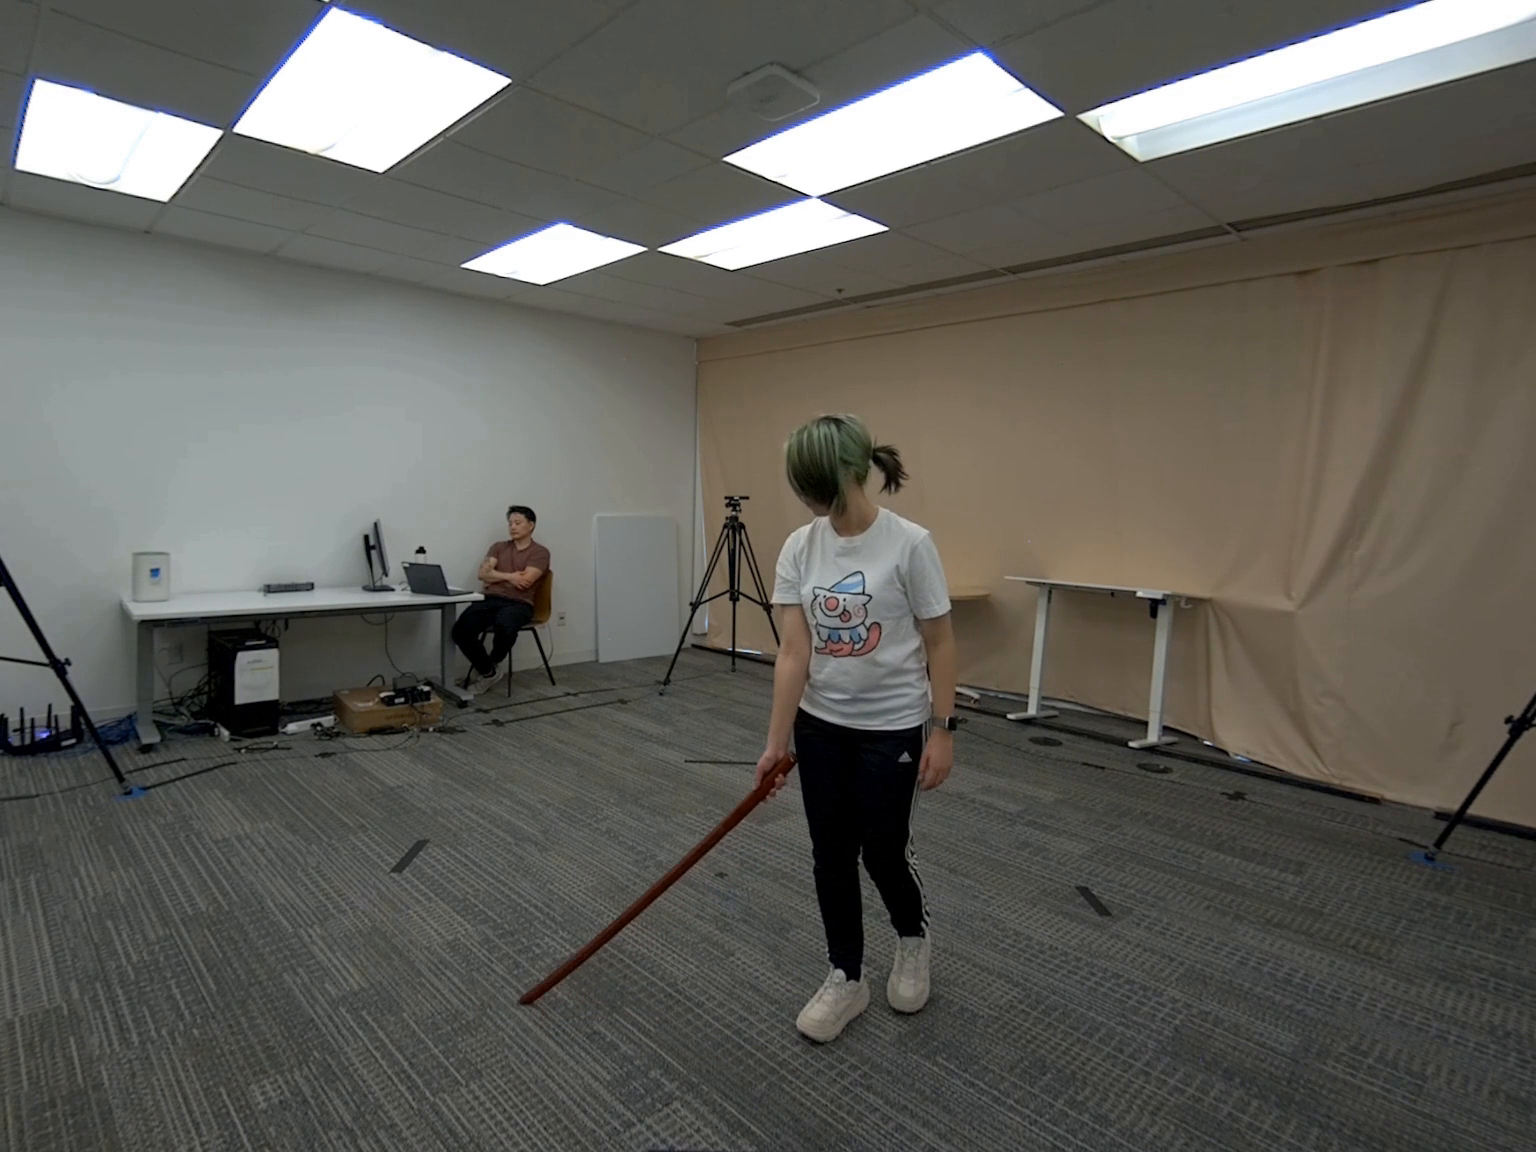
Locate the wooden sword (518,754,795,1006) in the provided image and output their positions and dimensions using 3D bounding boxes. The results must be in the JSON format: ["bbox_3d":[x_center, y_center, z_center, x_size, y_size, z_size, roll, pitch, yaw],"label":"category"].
[{"bbox_3d":[-0.293,0.822,2.217,1.025,0.024,0.051,-43,3,8],"label":"wooden sword"}]
